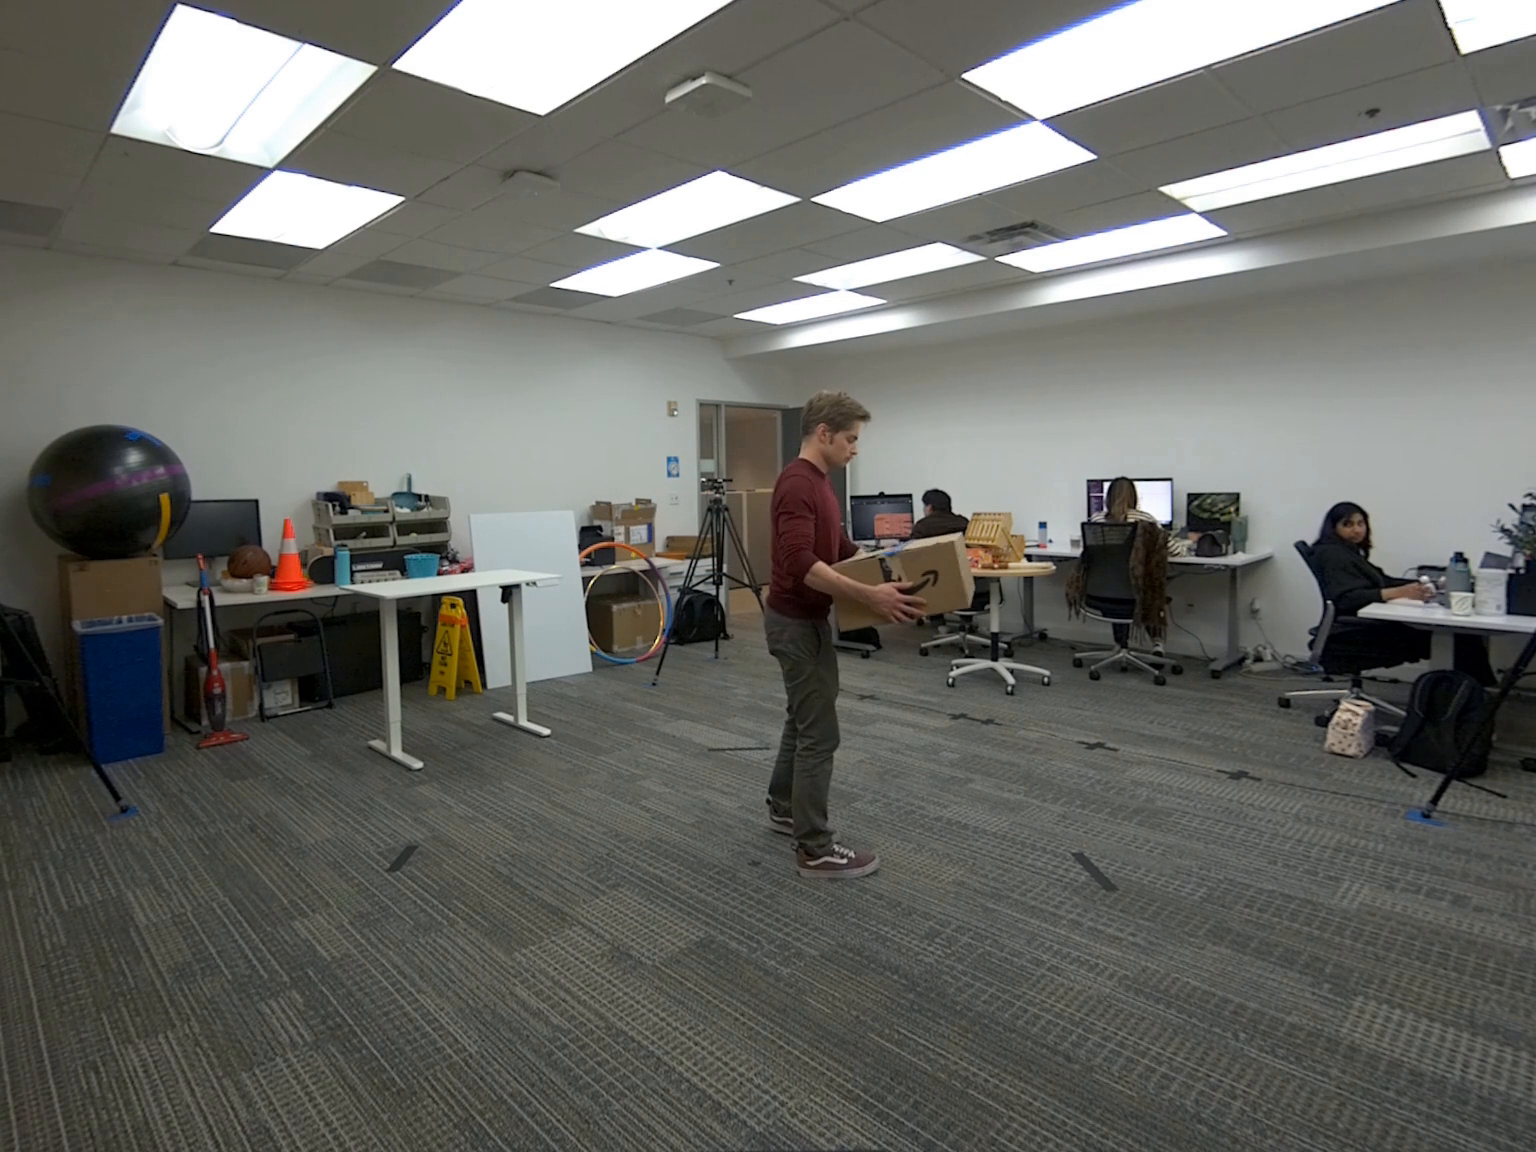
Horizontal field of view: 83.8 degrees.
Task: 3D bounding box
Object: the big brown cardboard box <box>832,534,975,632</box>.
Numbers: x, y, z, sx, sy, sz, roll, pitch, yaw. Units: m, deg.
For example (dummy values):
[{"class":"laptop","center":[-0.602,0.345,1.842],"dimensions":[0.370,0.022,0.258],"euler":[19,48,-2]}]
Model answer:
[{"class":"big brown cardboard box","center":[0.470,0.006,2.970],"dimensions":[0.423,0.233,0.582],"euler":[-11,3,17]}]
